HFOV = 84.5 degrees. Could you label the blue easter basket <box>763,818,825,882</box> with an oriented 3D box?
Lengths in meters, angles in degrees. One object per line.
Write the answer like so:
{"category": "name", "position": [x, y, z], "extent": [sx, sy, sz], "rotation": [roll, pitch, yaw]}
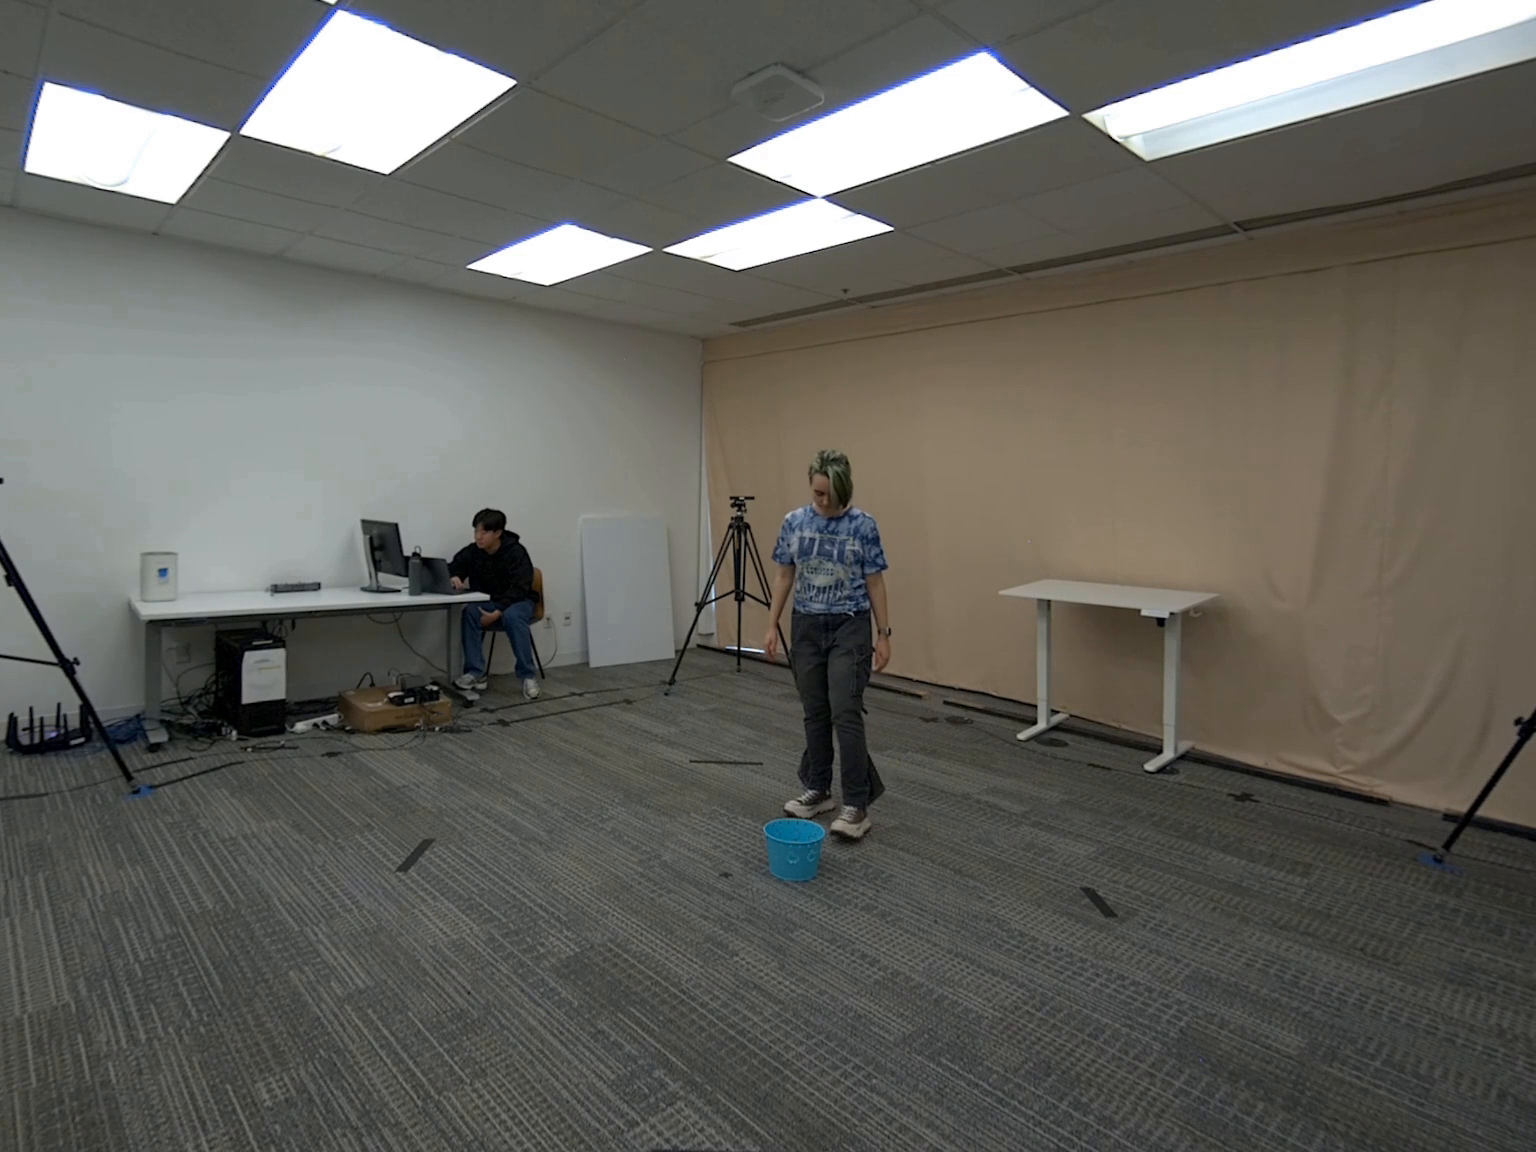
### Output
{"category": "blue easter basket", "position": [0.093, 1.023, 3.154], "extent": [0.243, 0.155, 0.244], "rotation": [1, 5, -1]}
